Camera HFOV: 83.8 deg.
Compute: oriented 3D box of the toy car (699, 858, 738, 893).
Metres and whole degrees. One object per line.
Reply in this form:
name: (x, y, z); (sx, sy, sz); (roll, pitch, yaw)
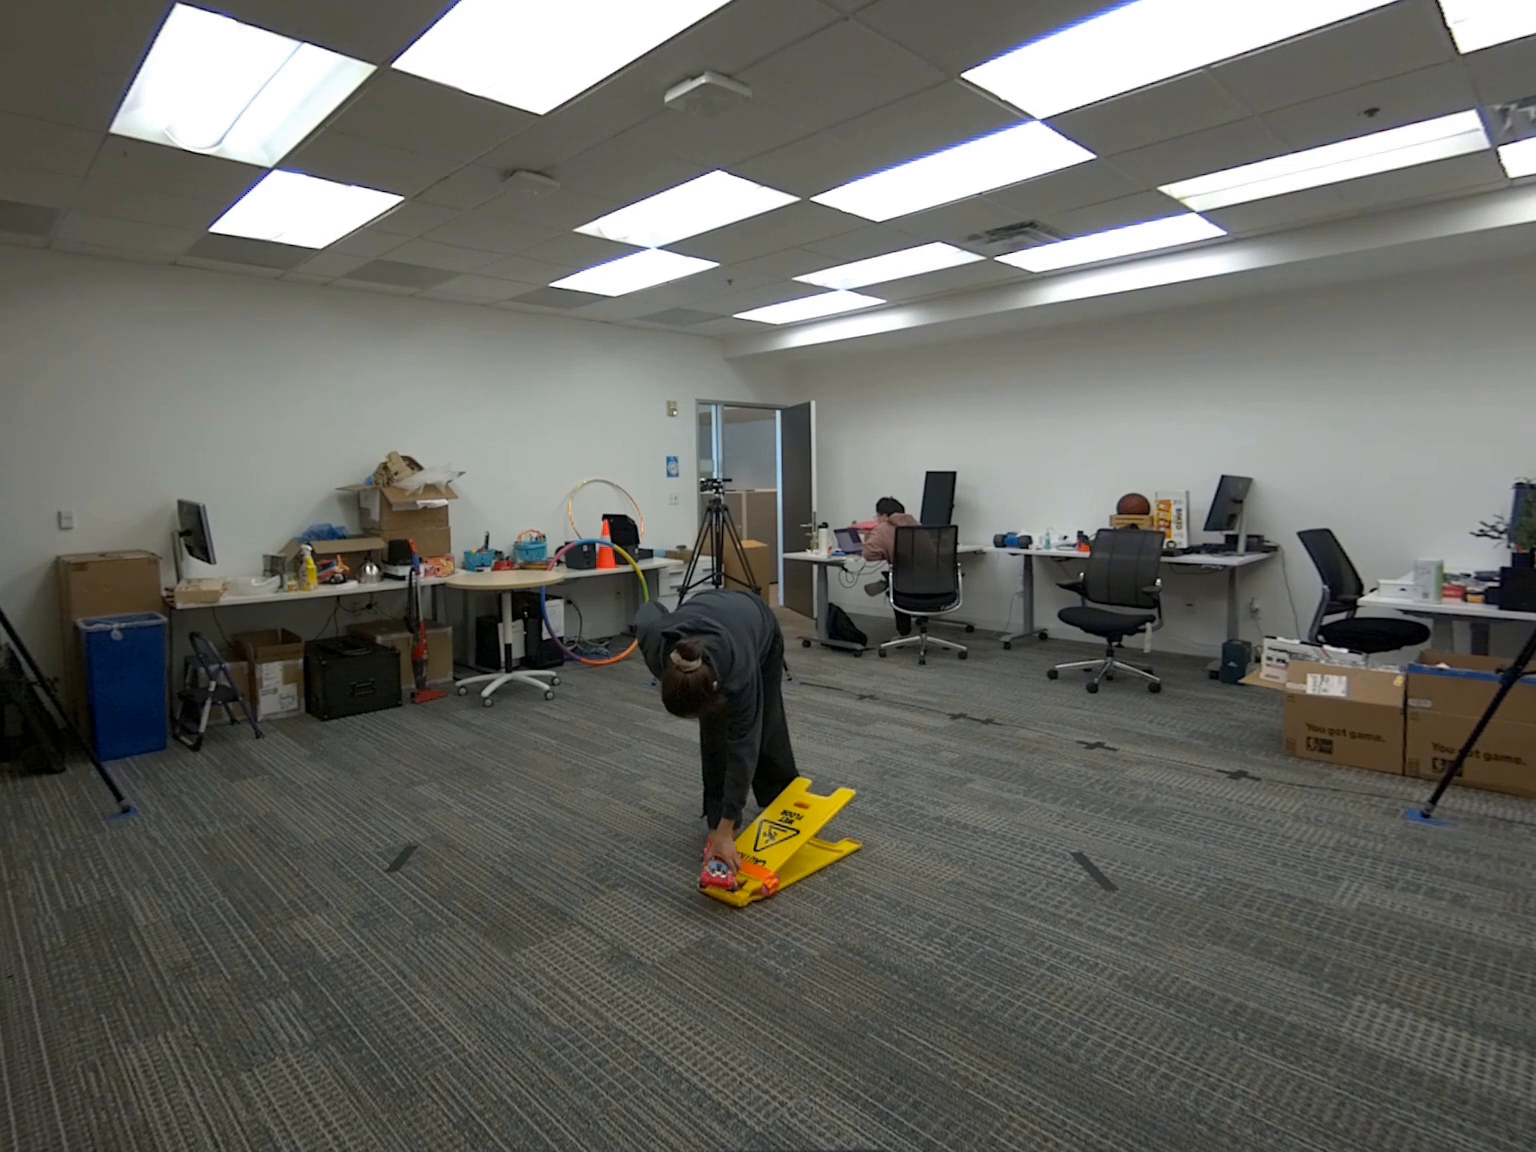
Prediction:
toy car: (-0.160, 0.966, 2.828); (0.130, 0.082, 0.258); (6, 22, 1)
